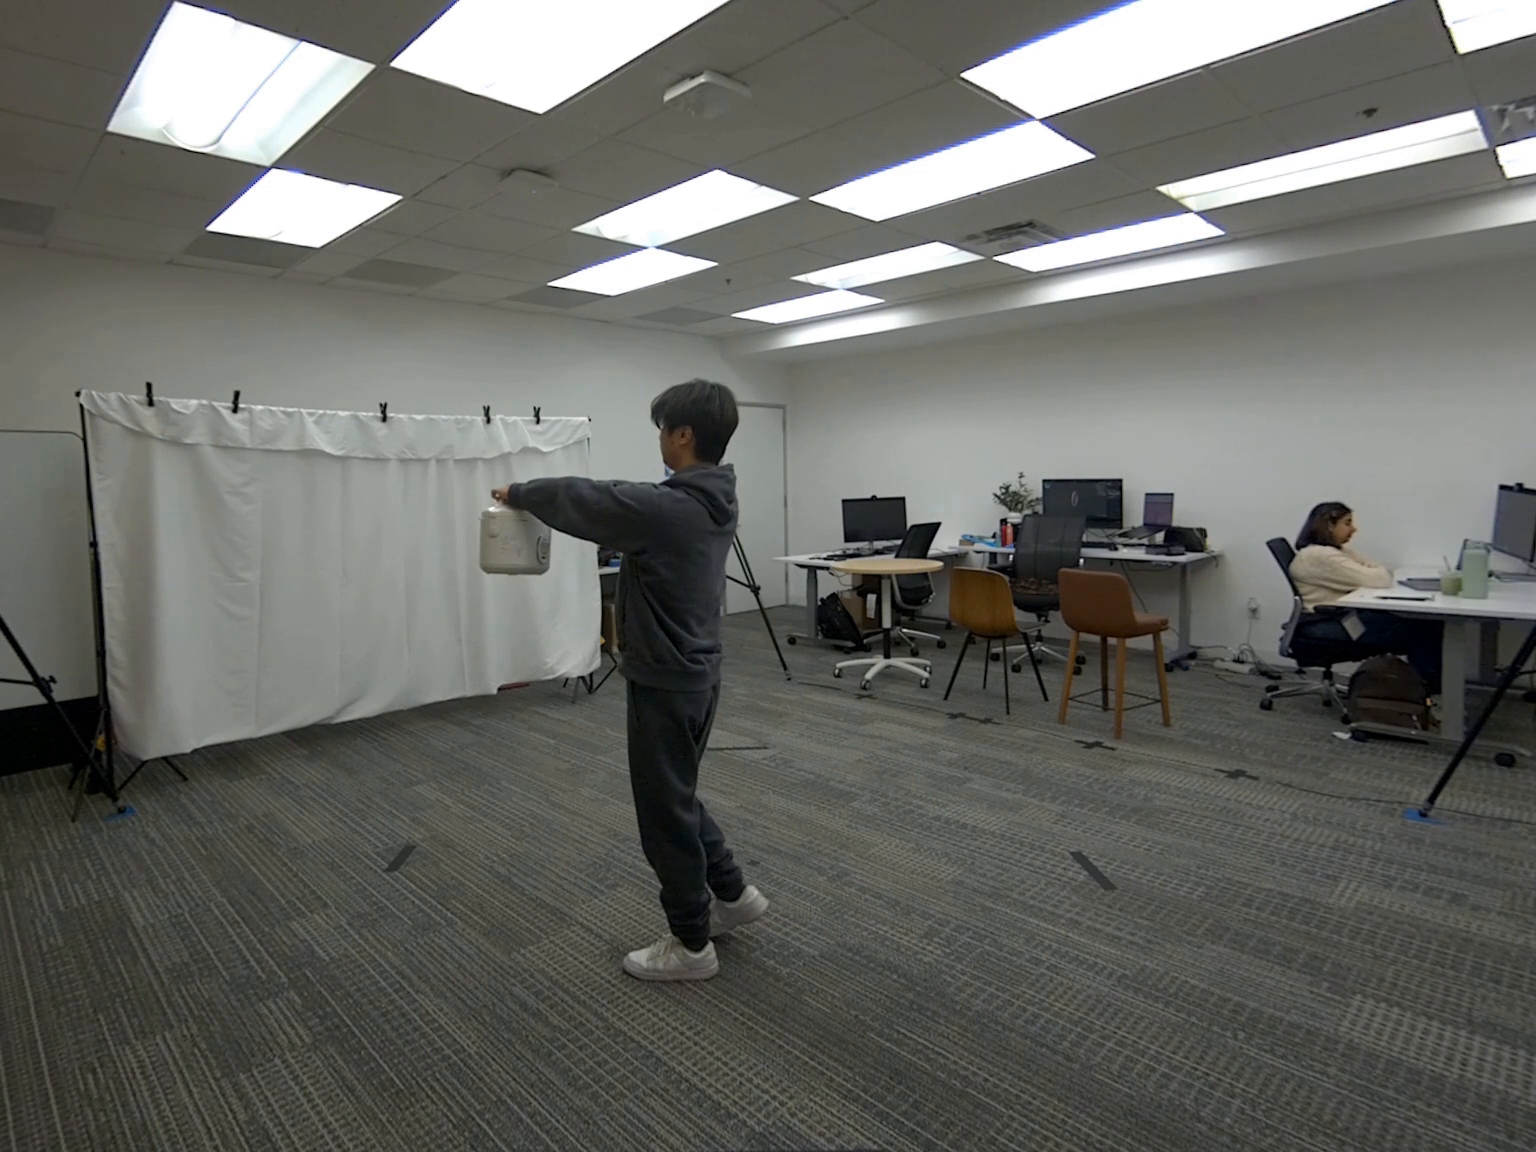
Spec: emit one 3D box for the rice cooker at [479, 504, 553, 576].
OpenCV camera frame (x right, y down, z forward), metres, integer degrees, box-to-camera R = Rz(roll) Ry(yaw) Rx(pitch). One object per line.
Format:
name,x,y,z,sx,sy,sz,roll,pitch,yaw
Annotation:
rice cooker,-0.758,-0.117,2.575,0.222,0.233,0.215,0,0,26
